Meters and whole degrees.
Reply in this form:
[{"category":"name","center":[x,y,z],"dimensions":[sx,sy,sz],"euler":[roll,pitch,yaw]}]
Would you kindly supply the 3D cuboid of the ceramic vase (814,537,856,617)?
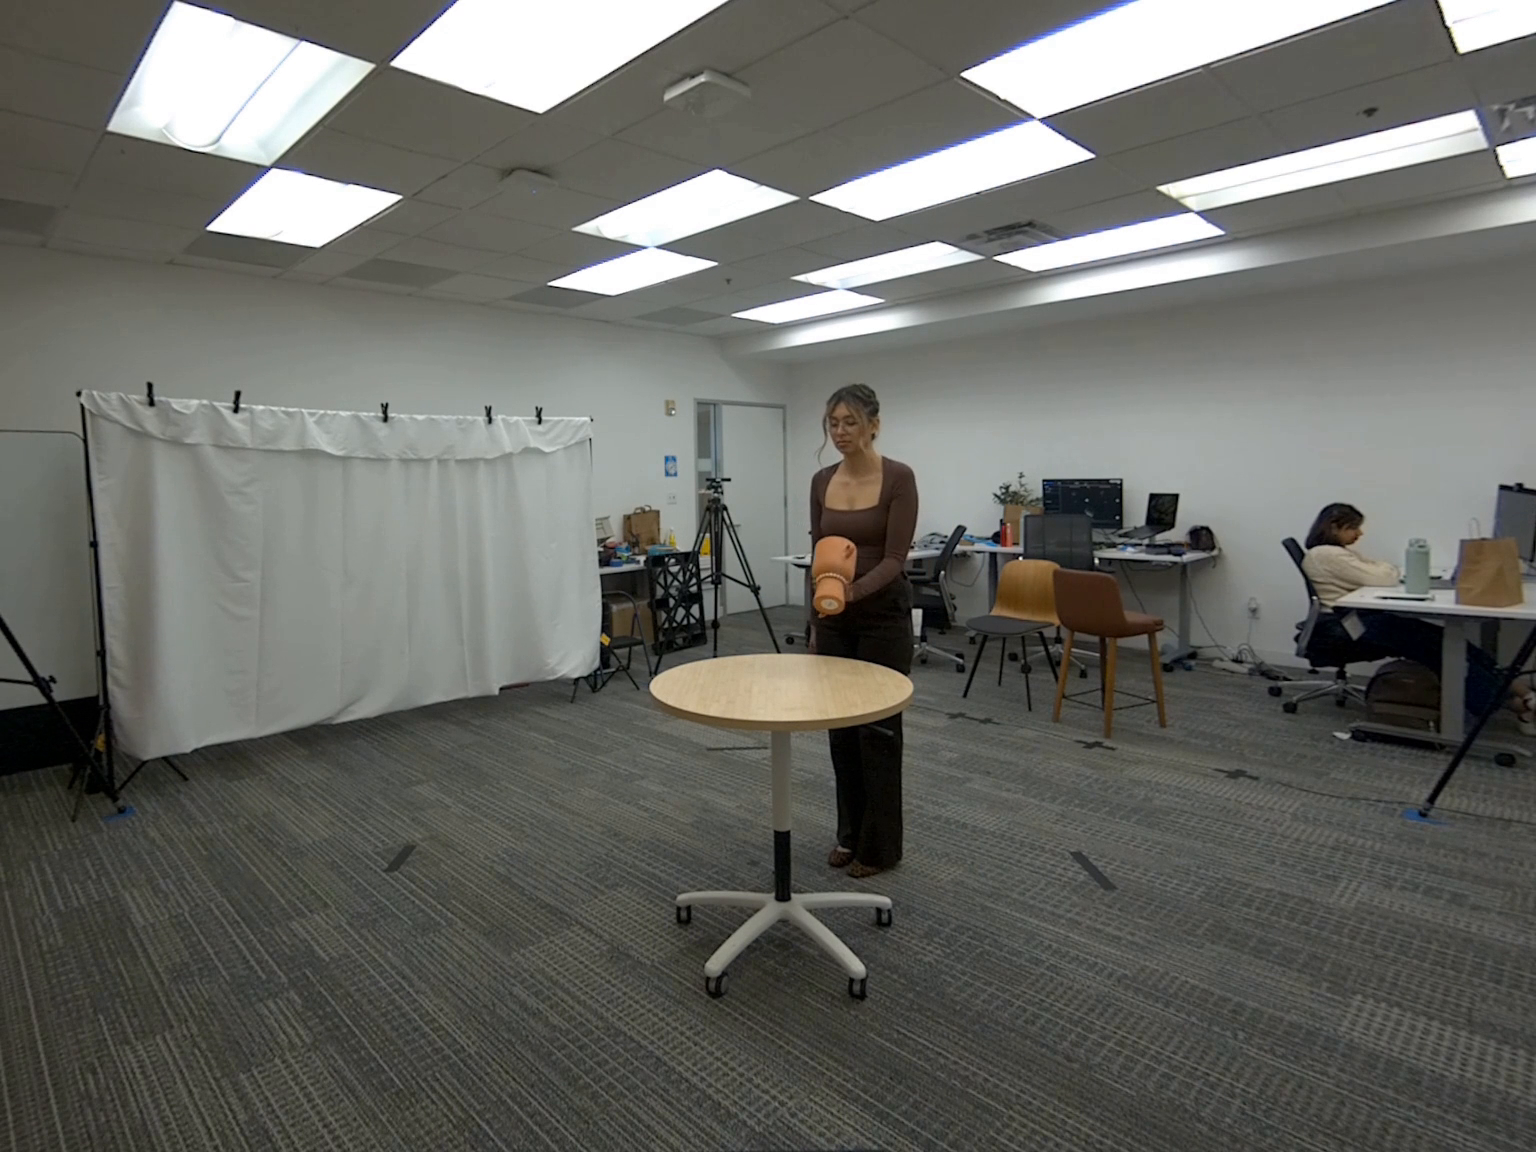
[{"category":"ceramic vase","center":[0.229,0.004,2.667],"dimensions":[0.136,0.224,0.154],"euler":[2,-38,12]}]
